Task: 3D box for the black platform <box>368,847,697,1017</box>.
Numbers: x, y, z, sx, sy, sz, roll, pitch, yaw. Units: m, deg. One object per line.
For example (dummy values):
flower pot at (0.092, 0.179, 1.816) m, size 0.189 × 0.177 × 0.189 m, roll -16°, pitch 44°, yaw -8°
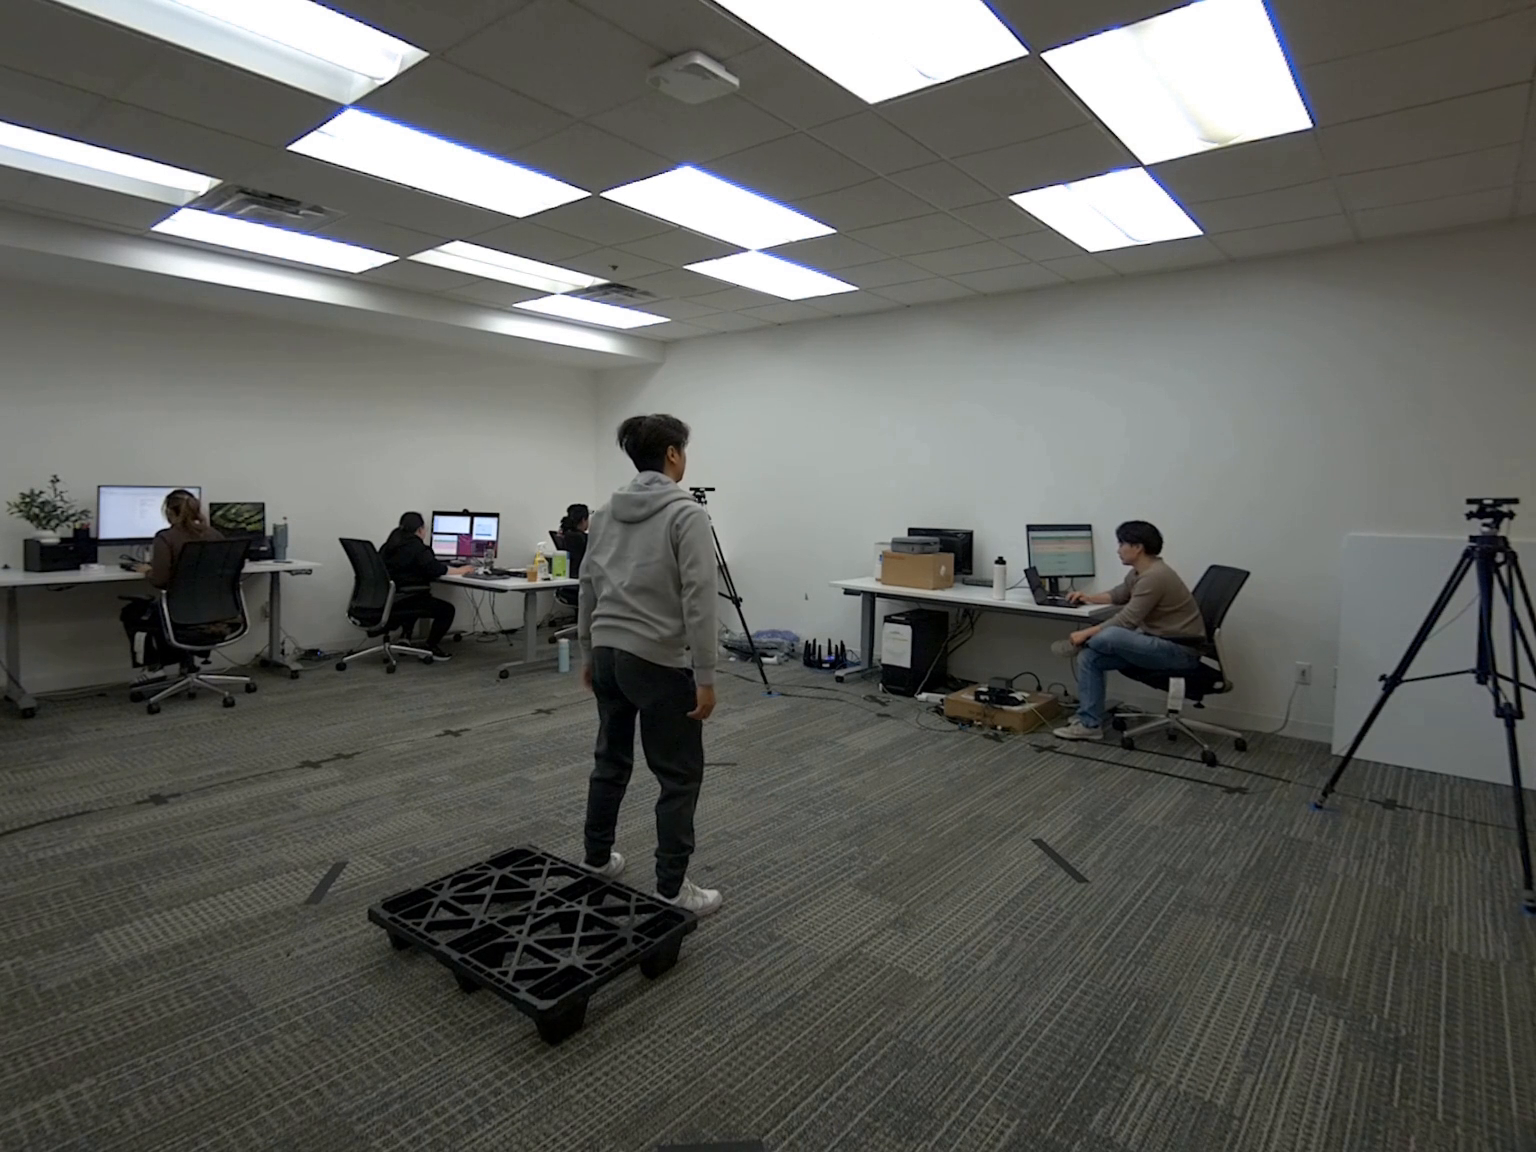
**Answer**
black platform at (-0.705, 1.047, 2.520) m, size 0.832 × 0.143 × 0.588 m, roll 5°, pitch 7°, yaw 36°
